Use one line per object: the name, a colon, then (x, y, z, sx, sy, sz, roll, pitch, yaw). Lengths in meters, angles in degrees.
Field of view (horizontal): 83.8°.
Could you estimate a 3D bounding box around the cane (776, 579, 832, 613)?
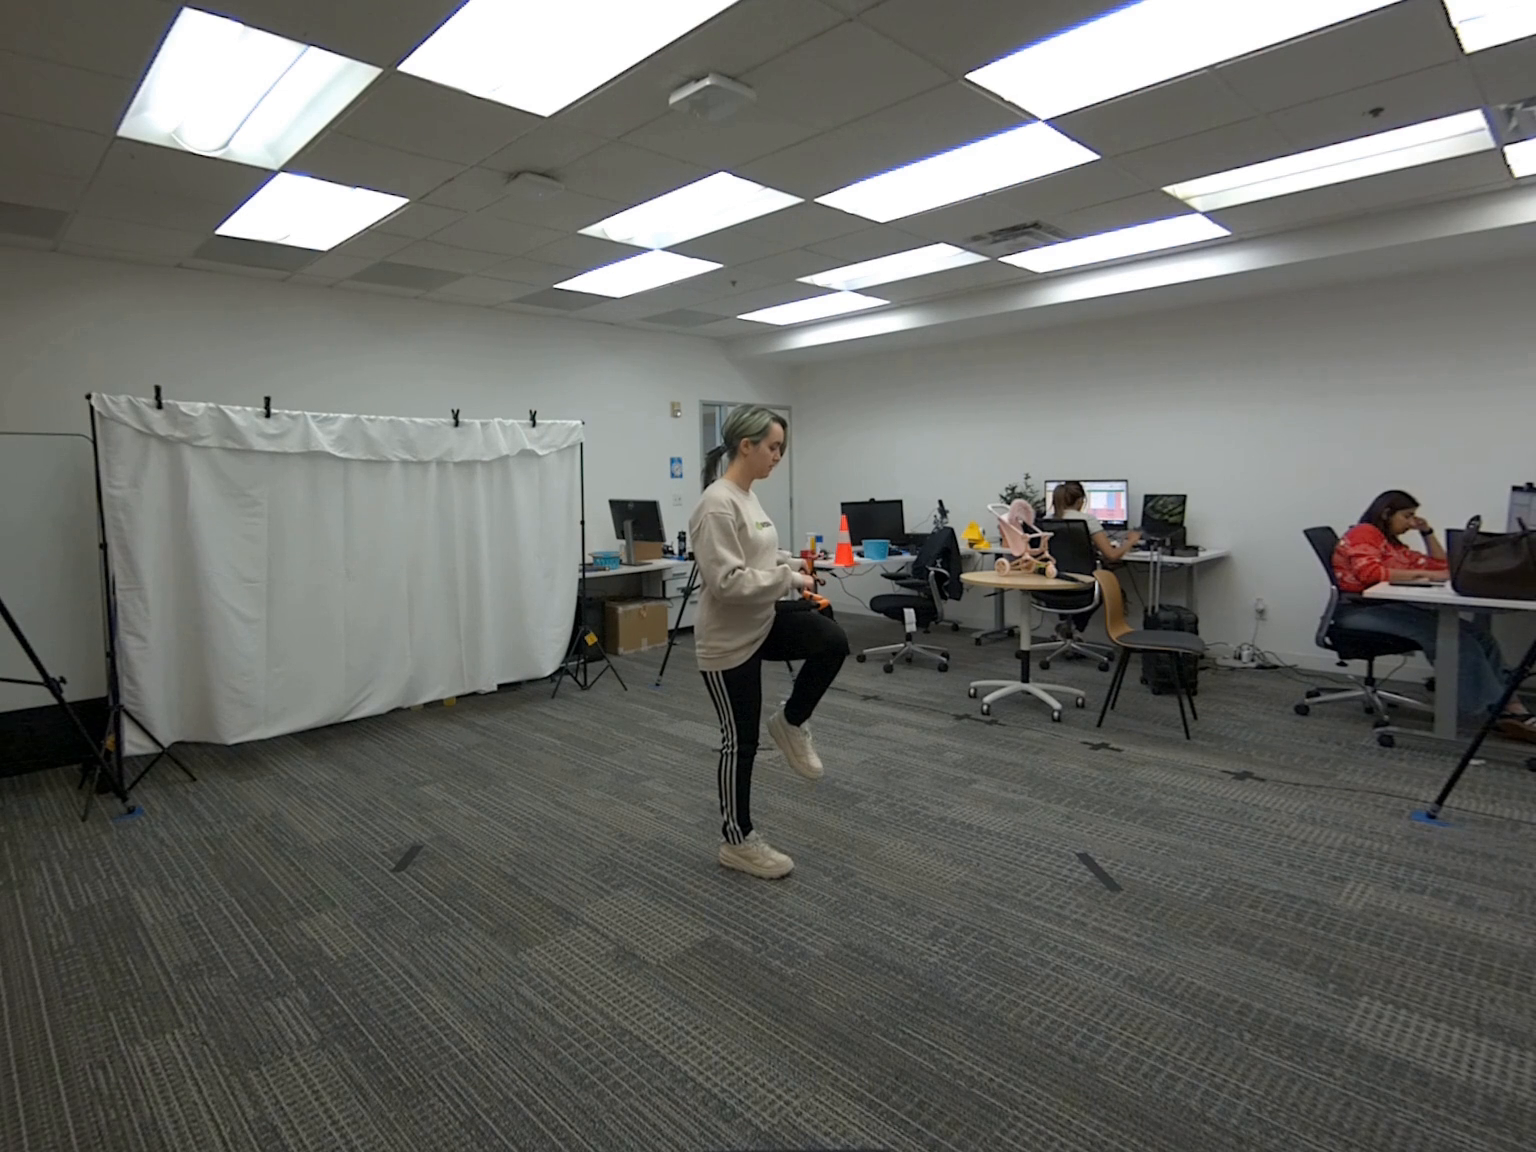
cane: (0.144, 0.033, 3.001, 0.207, 0.150, 0.909, 0, 8, 3)
